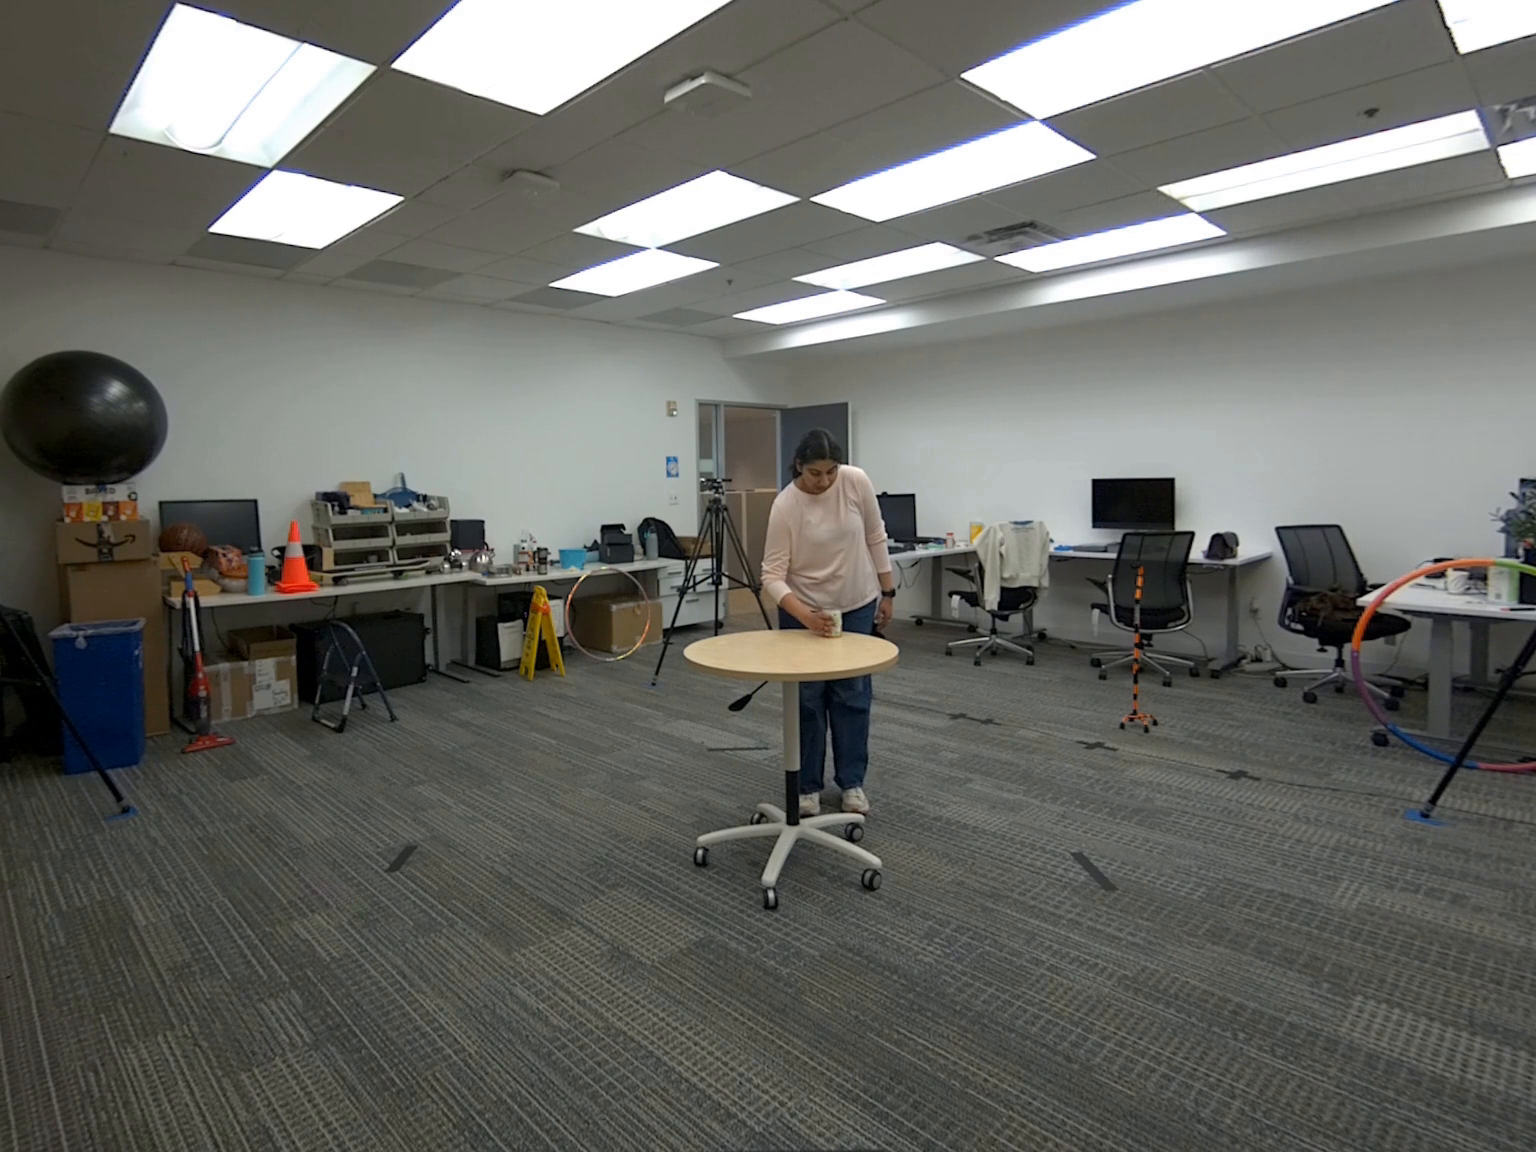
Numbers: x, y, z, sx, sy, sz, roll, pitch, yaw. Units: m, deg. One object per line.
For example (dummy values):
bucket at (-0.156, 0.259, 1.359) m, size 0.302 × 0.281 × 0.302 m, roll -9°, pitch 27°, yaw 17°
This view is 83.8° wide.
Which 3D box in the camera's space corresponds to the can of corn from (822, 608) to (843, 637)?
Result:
can of corn at (0.232, 0.175, 3.275) m, size 0.074 × 0.110 × 0.074 m, roll 0°, pitch 5°, yaw -2°
